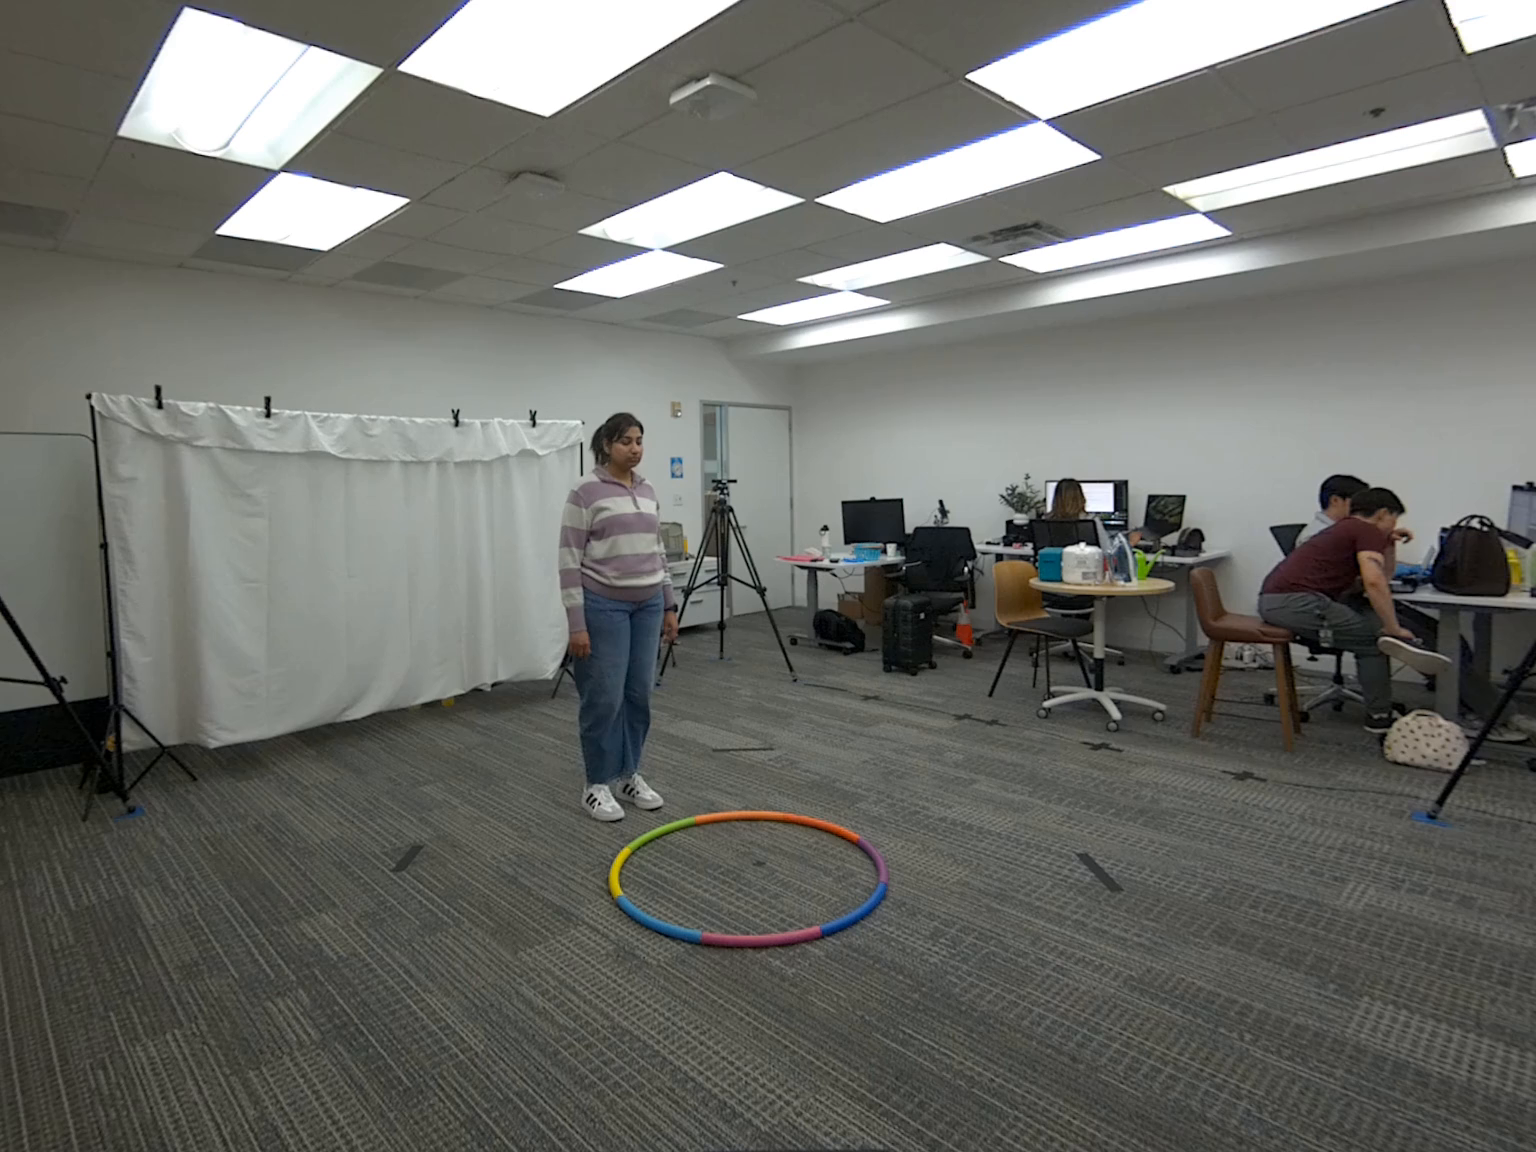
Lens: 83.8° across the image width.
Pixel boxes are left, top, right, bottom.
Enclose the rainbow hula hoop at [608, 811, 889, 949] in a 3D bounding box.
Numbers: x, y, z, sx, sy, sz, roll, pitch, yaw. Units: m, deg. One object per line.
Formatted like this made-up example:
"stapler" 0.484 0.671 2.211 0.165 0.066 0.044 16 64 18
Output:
"rainbow hula hoop" -0.072 1.025 3.039 0.978 0.035 0.984 -2 6 -2
